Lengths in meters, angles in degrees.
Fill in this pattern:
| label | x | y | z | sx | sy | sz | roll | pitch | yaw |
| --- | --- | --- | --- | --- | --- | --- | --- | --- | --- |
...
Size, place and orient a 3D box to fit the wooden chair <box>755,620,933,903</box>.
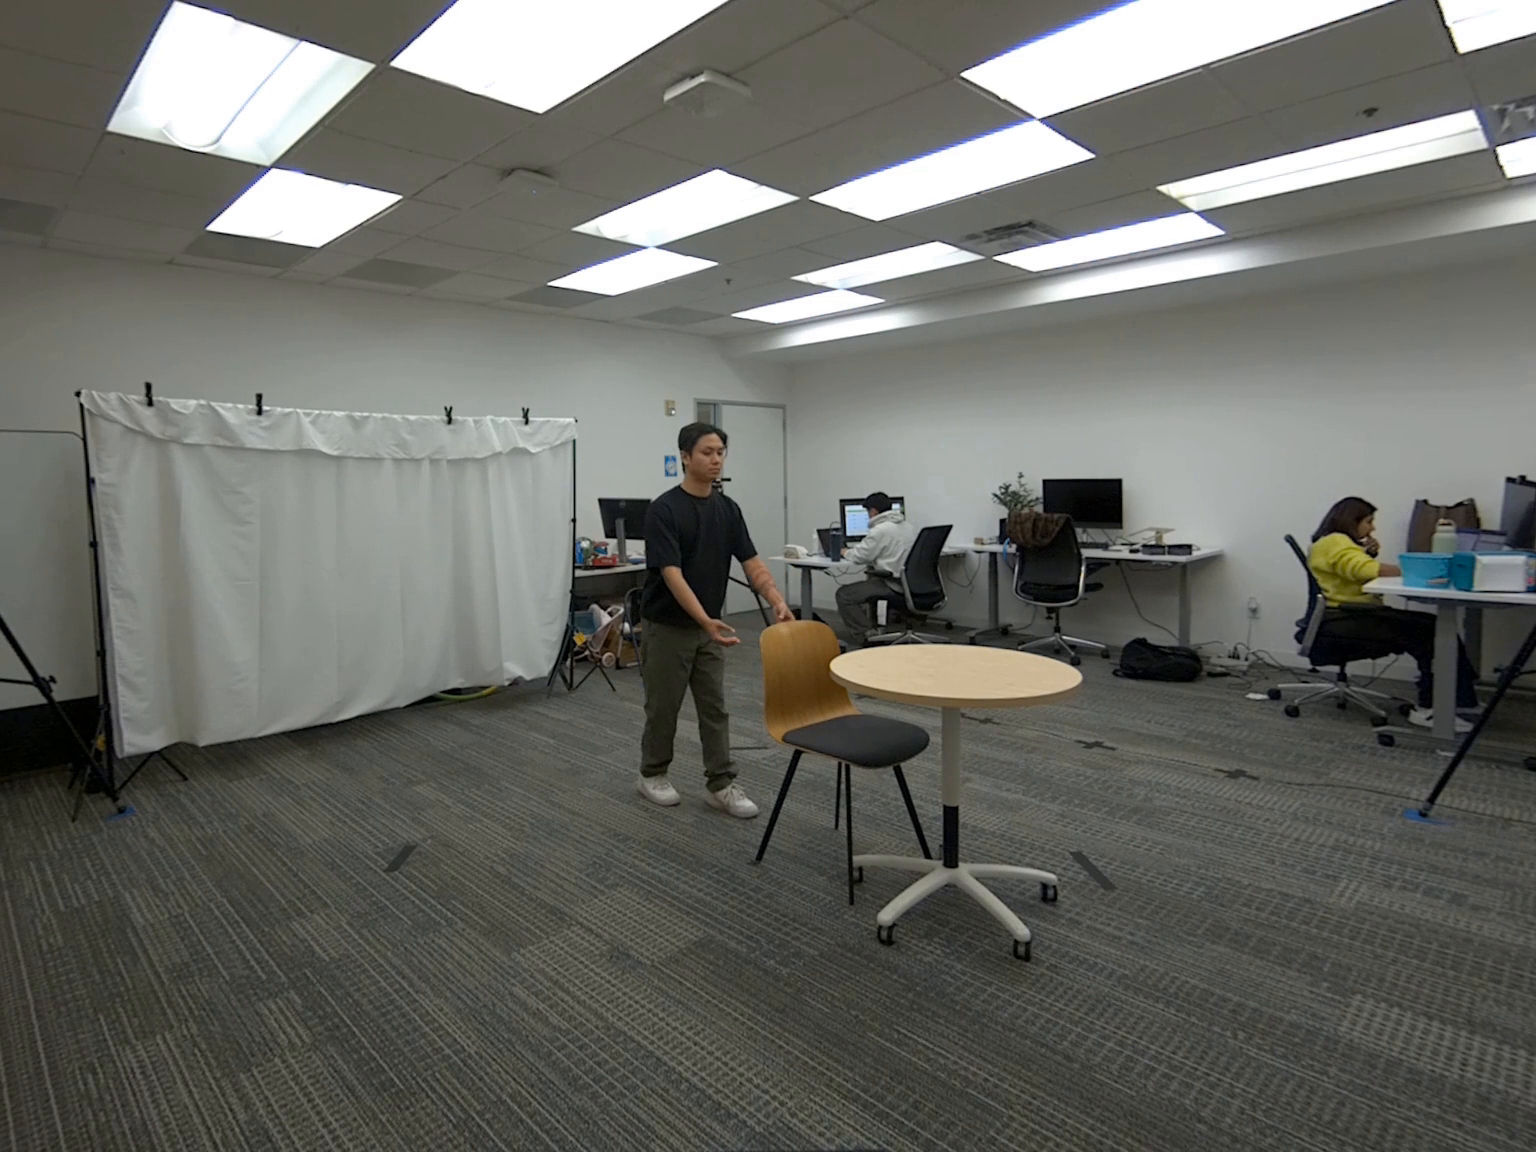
| label | x | y | z | sx | sy | sz | roll | pitch | yaw |
| --- | --- | --- | --- | --- | --- | --- | --- | --- | --- |
| wooden chair | 0.272 | 0.616 | 3.058 | 0.465 | 0.877 | 0.538 | -5 | 1 | -43 |
